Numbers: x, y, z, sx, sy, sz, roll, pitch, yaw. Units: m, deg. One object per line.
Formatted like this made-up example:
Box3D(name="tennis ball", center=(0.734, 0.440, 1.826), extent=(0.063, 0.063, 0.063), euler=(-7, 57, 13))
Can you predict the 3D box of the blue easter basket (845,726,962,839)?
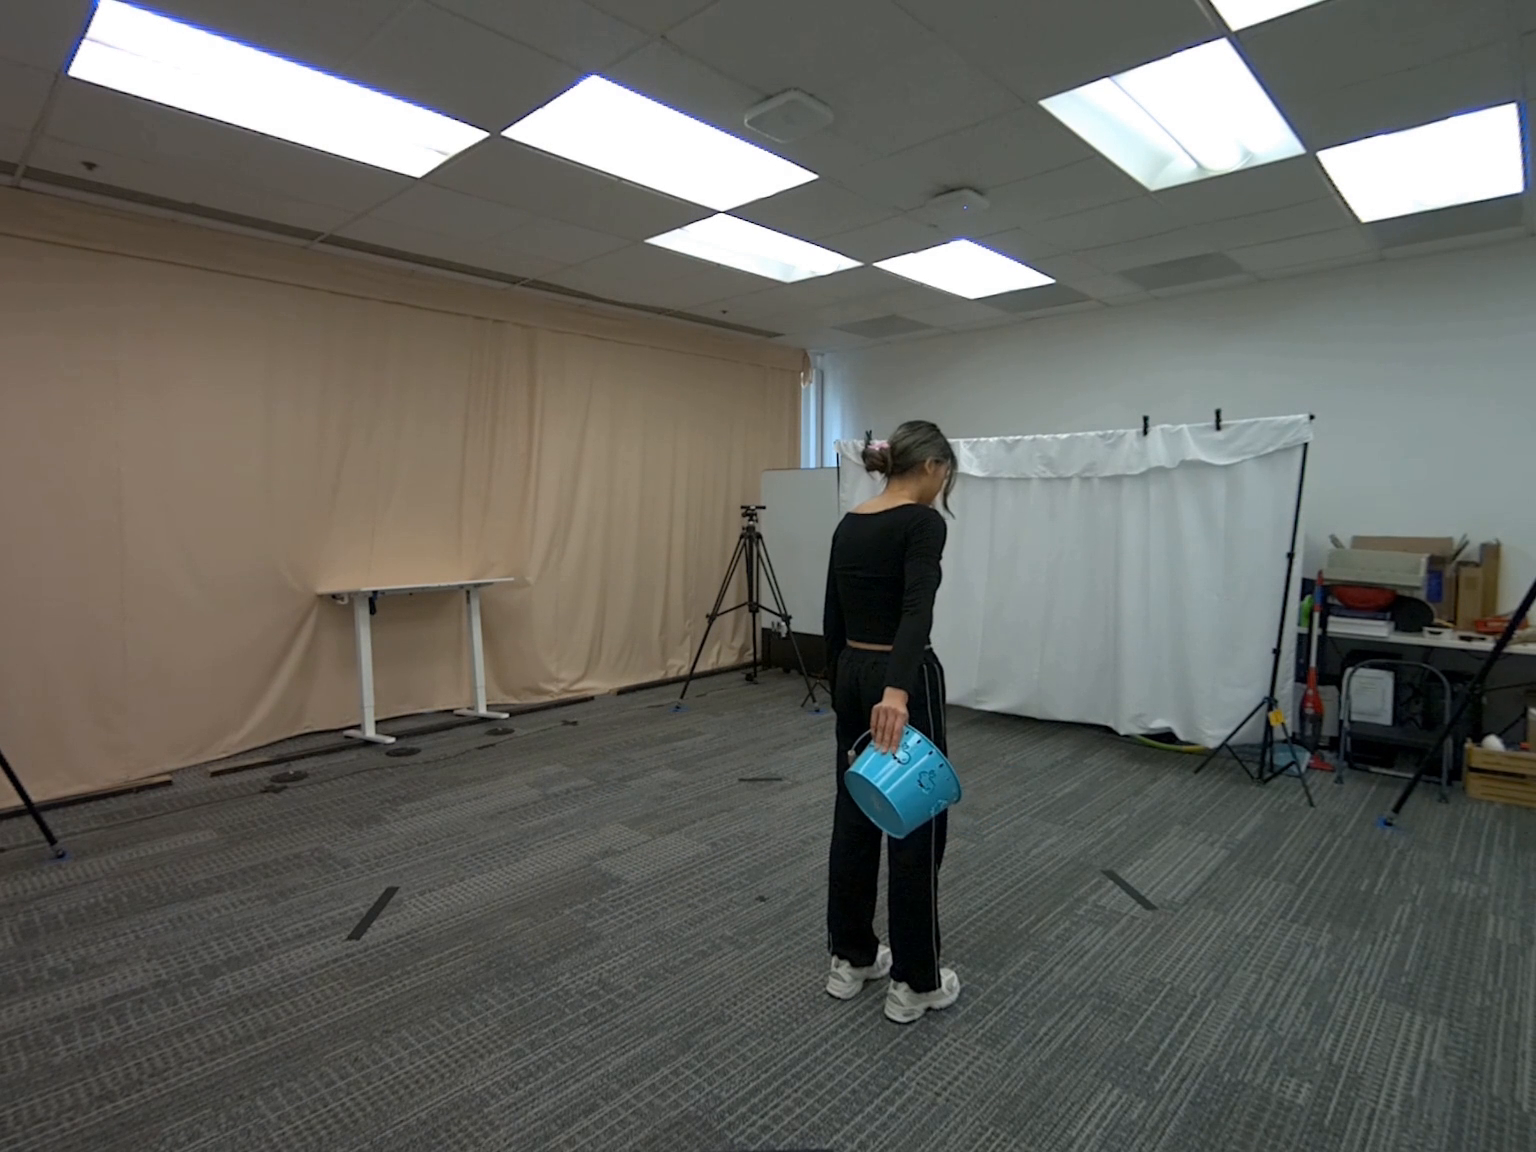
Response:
Box3D(name="blue easter basket", center=(0.298, 0.468, 1.893), extent=(0.154, 0.239, 0.250), euler=(-36, 18, -21))
